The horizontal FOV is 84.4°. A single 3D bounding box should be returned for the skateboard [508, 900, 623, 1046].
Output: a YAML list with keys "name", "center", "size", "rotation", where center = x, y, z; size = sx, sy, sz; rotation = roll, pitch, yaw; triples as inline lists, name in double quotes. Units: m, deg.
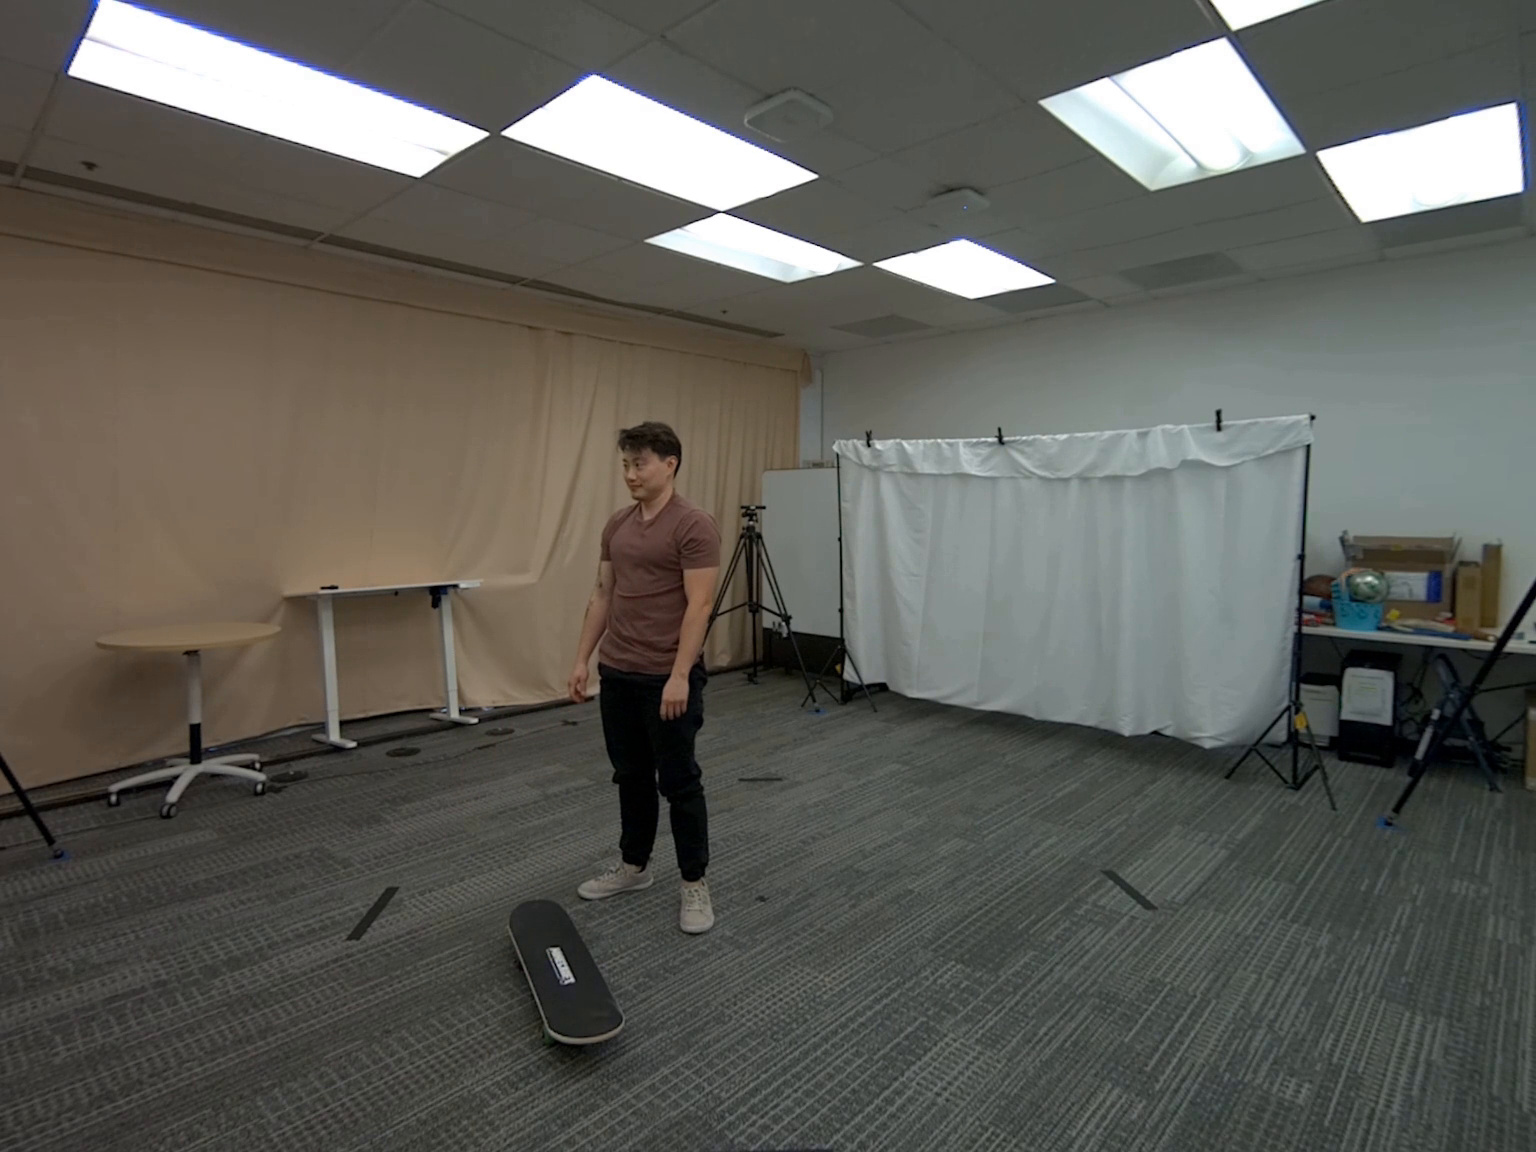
- name: "skateboard"
  center: [-0.590, 1.143, 2.392]
  size: [0.189, 0.110, 0.806]
  rotation: [0, 4, -26]
